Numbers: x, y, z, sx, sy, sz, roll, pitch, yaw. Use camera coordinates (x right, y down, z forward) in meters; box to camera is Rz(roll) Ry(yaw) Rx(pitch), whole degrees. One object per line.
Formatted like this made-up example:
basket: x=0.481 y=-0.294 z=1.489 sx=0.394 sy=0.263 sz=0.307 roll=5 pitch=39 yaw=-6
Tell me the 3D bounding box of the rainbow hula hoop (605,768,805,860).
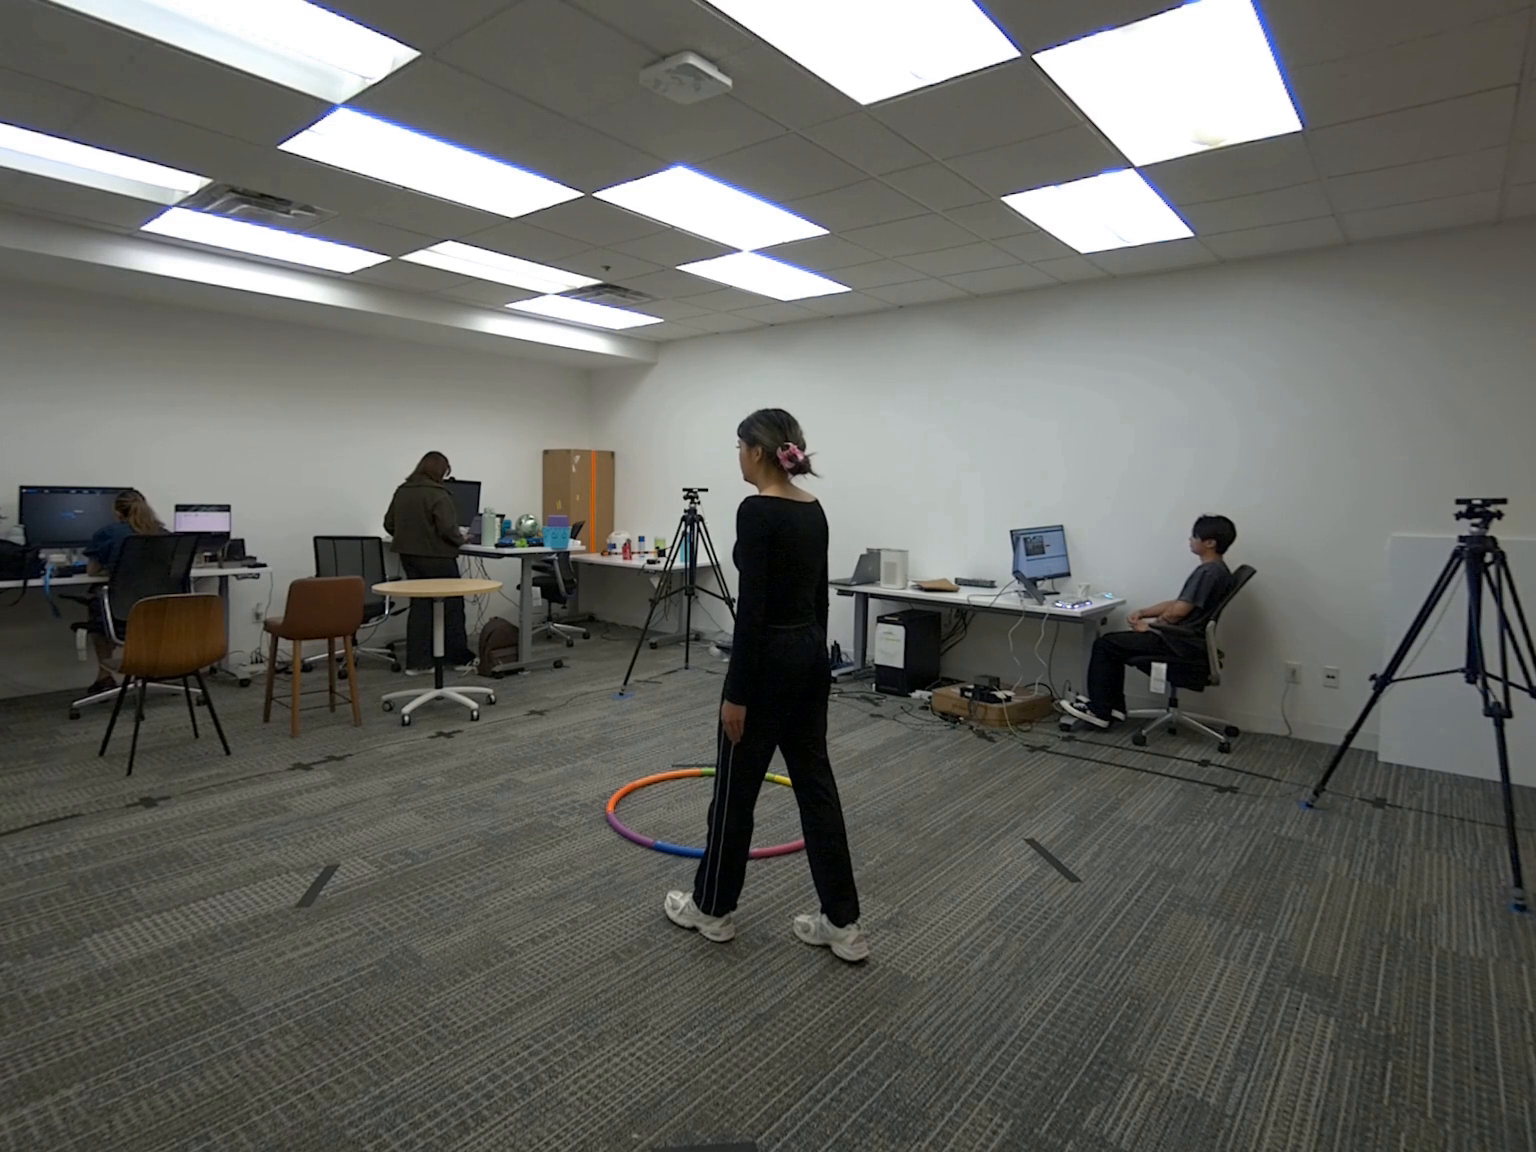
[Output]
rainbow hula hoop: x=-0.214 y=0.986 z=3.666 sx=0.978 sy=0.035 sz=0.984 roll=1 pitch=6 yaw=-2
